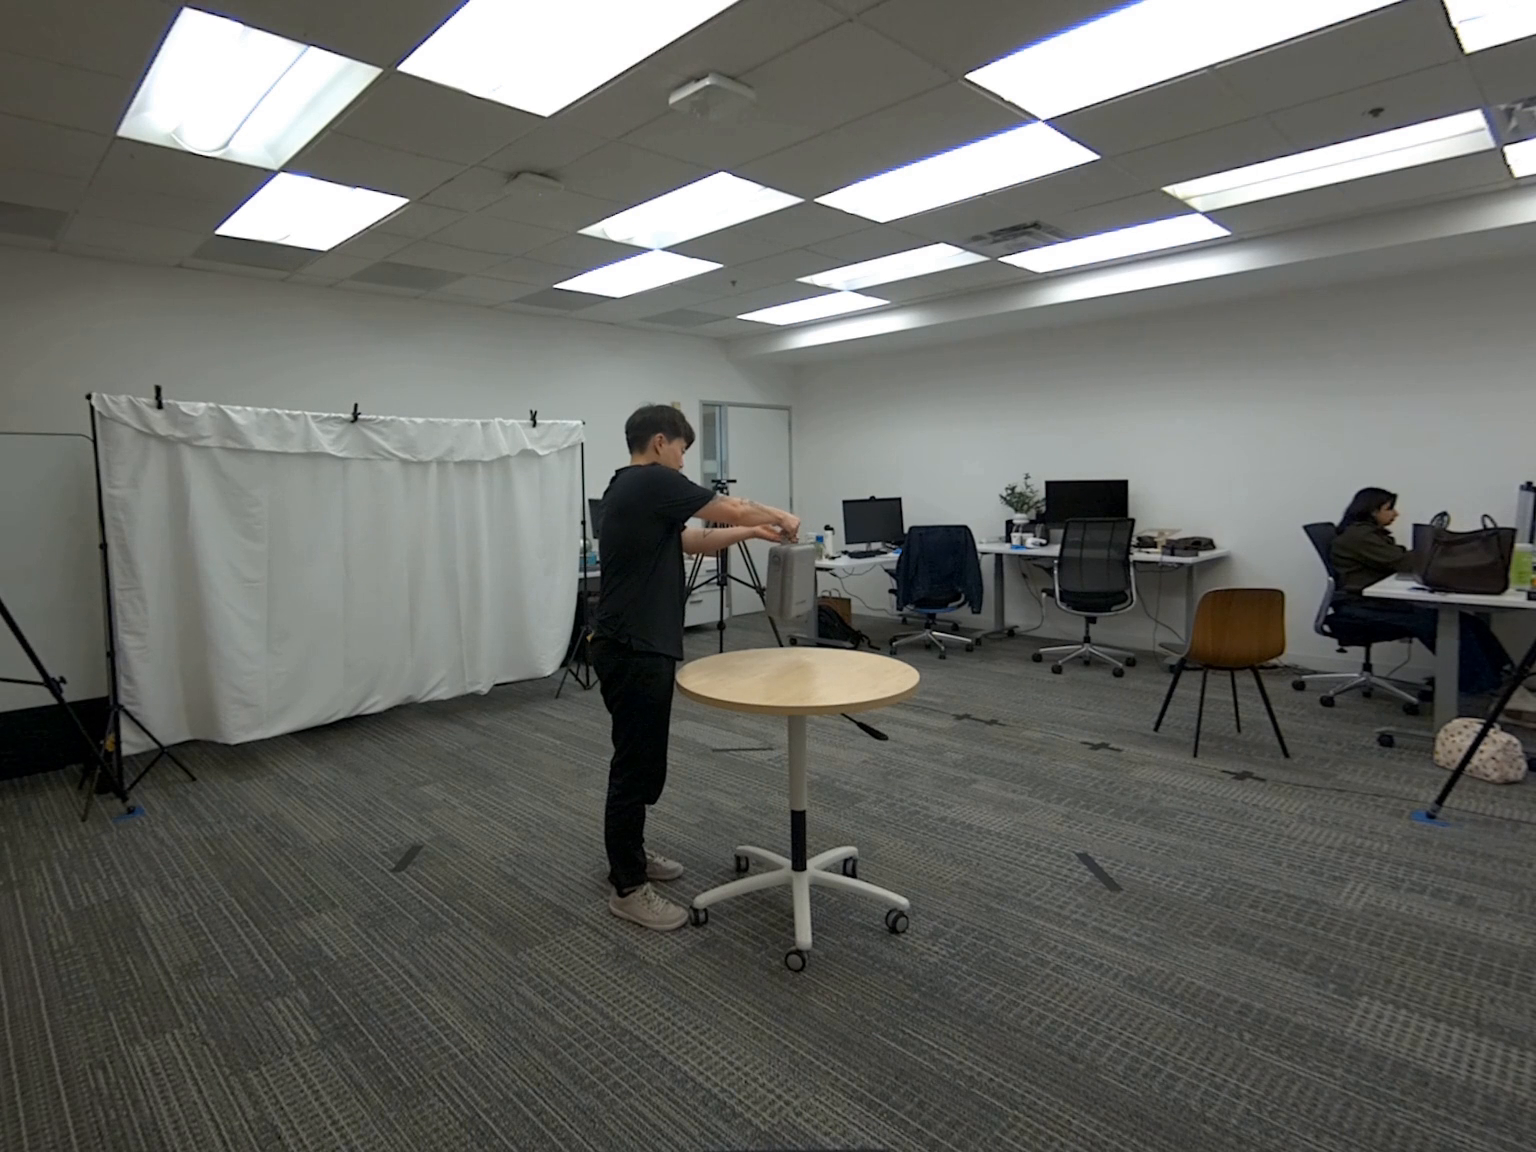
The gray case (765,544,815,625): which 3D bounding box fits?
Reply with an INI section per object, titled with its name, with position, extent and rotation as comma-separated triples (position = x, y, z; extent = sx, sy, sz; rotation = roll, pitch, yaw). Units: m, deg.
[gray case]
position = 0.082, 0.010, 3.043
extent = 0.107, 0.260, 0.251
rotation = 2, 4, 28
